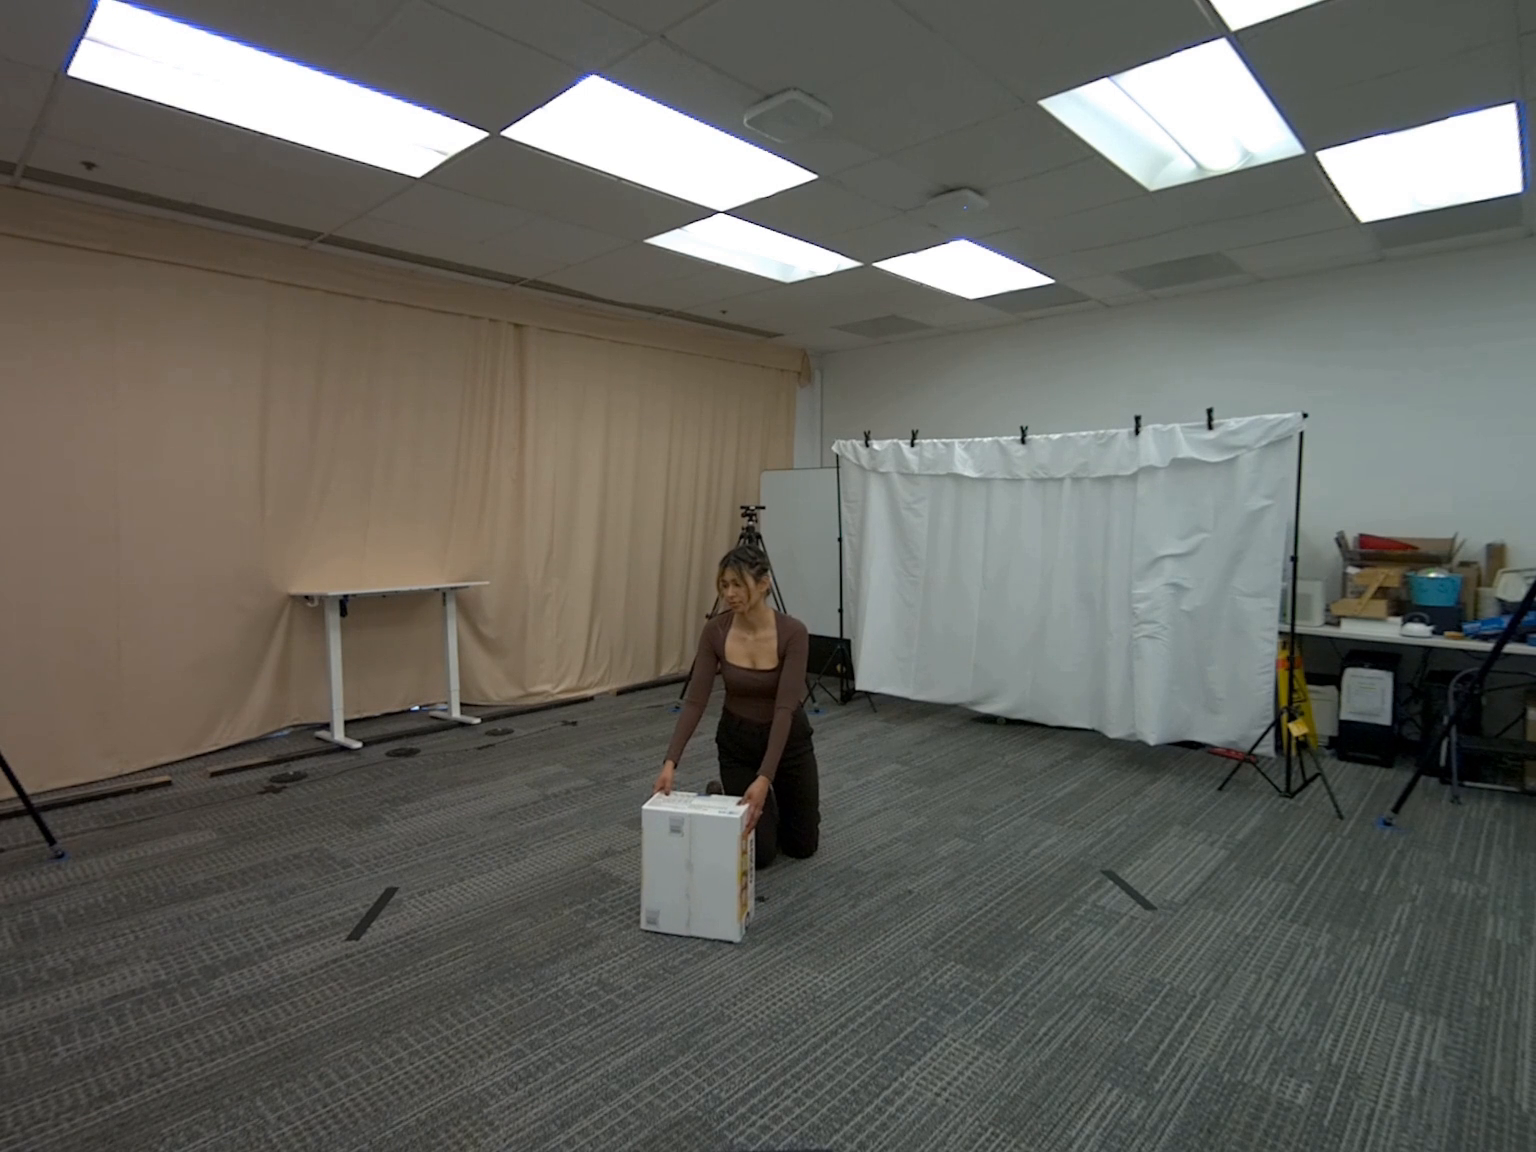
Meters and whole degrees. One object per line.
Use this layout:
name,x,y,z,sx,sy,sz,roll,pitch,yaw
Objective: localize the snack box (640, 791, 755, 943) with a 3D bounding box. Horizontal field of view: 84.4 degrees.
snack box,-0.230,0.956,2.805,0.346,0.405,0.202,1,1,14
